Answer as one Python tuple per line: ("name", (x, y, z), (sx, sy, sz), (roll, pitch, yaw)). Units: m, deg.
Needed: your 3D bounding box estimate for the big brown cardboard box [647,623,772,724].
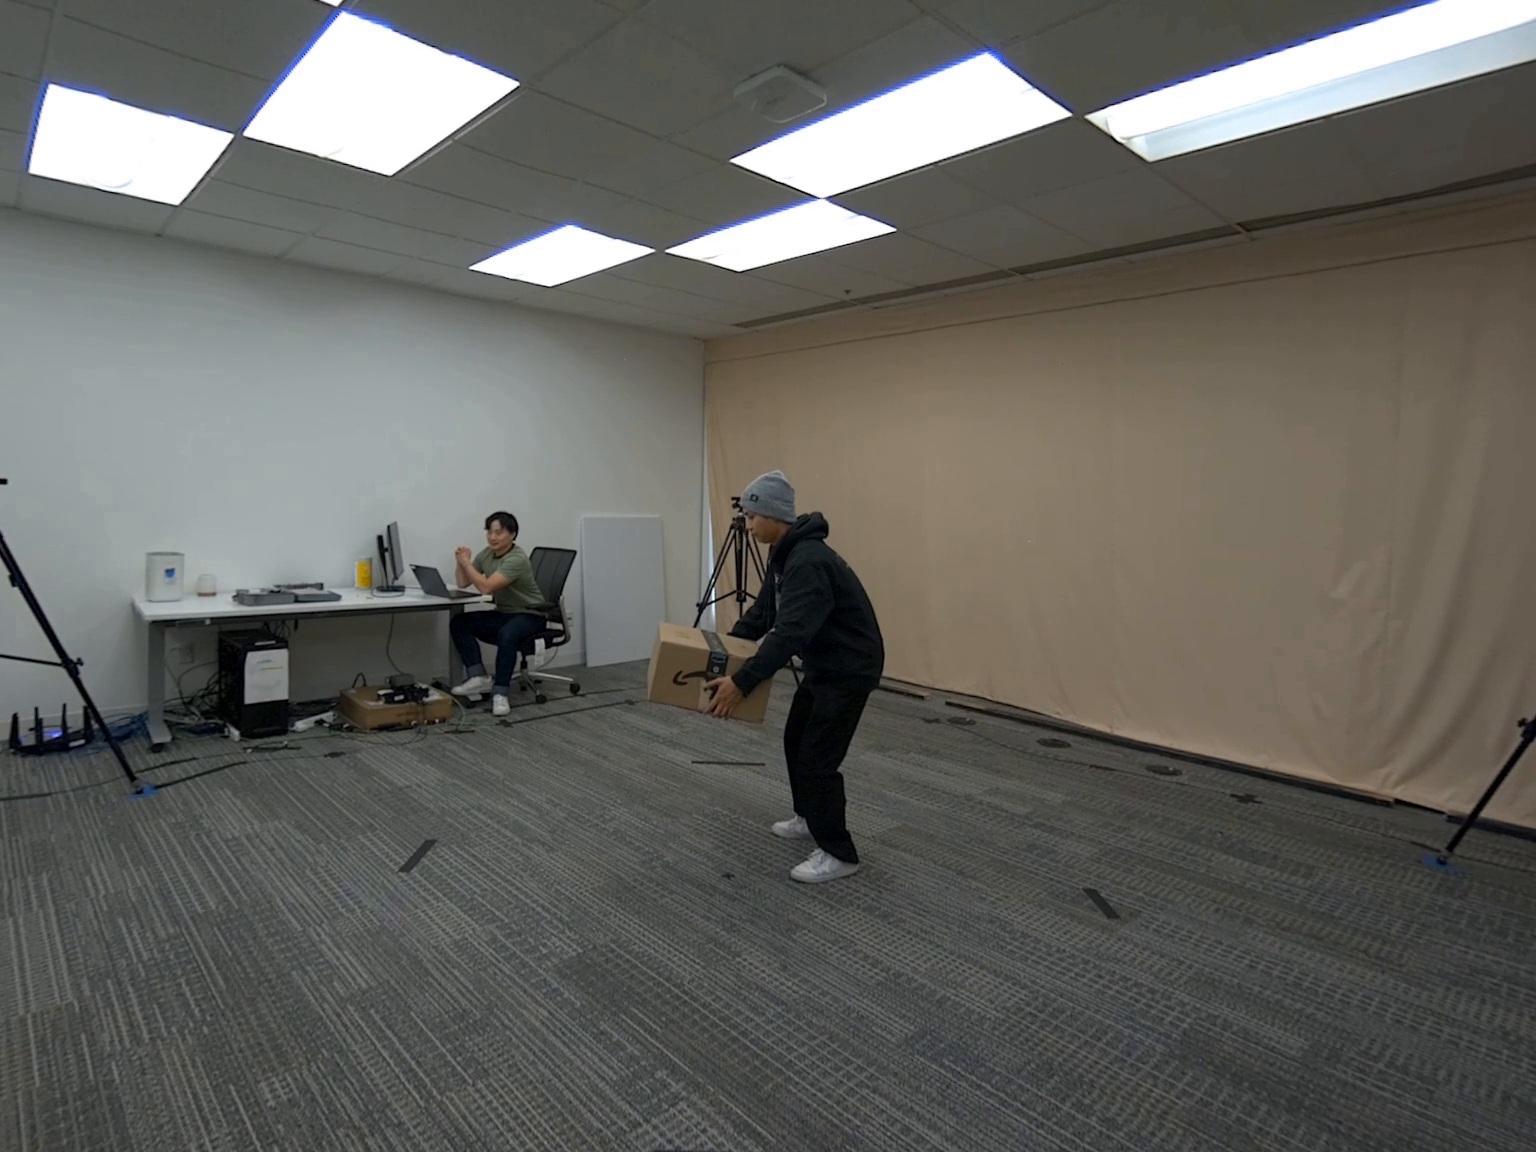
("big brown cardboard box", (-0.229, 0.356, 3.207), (0.416, 0.233, 0.591), (11, 1, -5))
